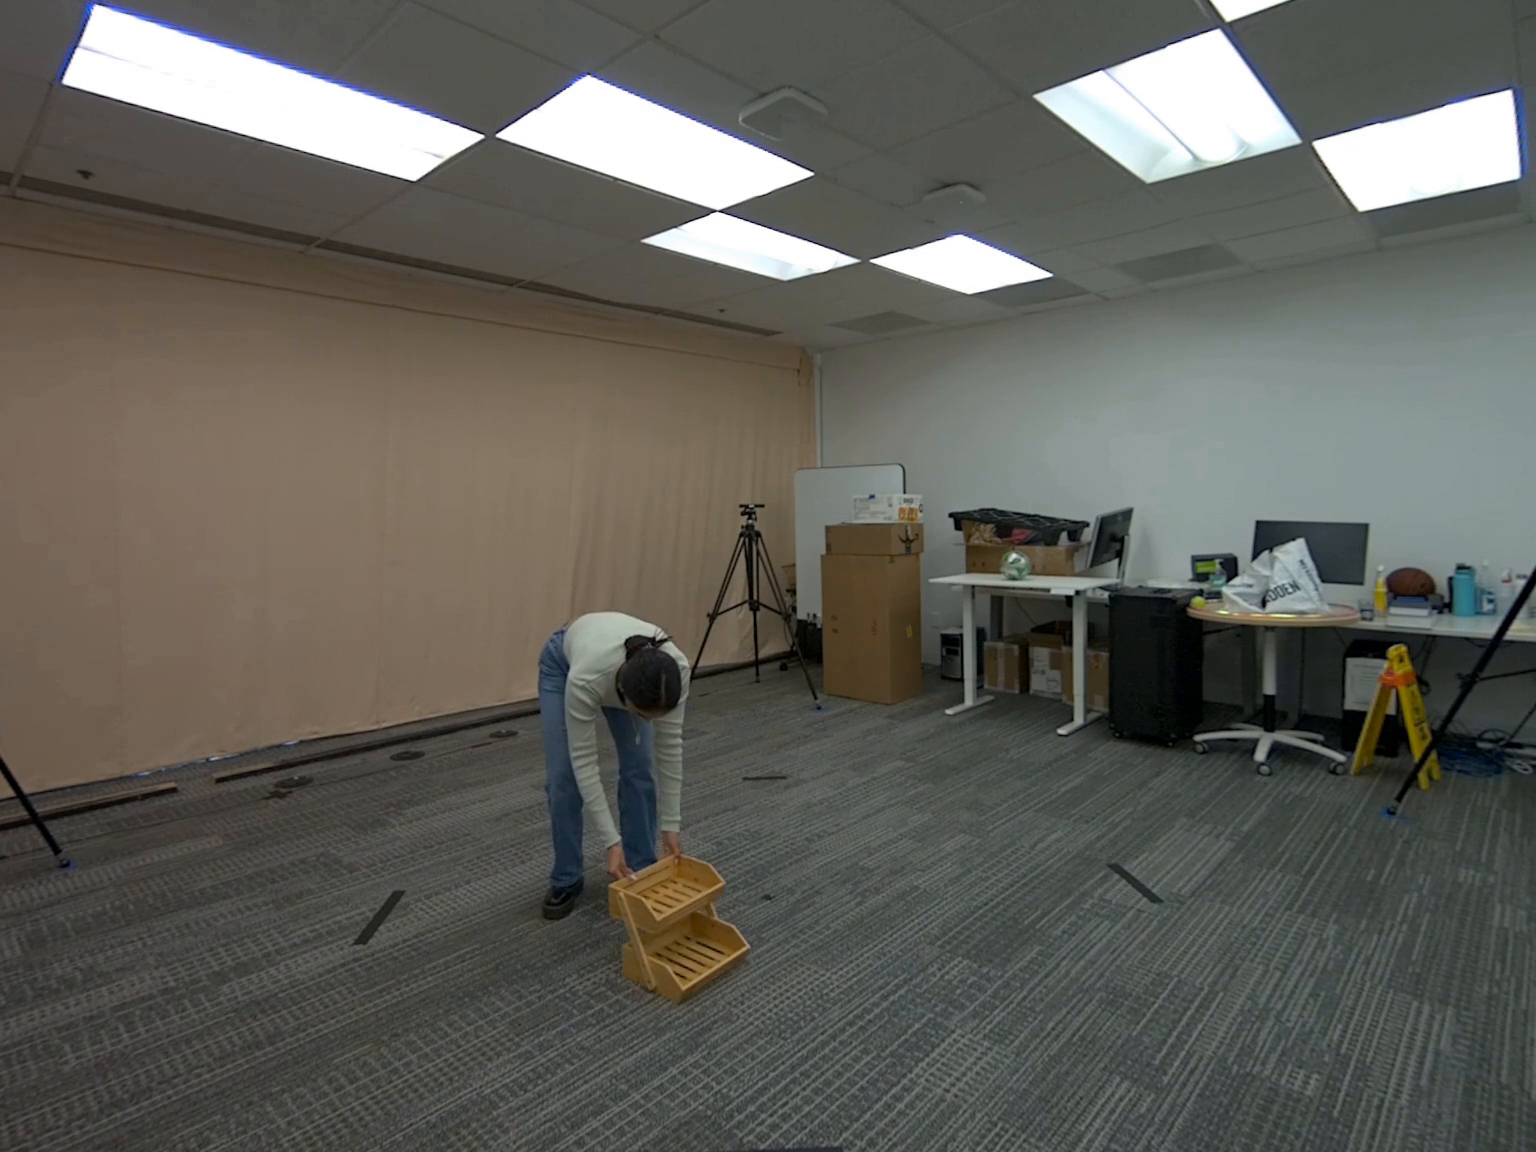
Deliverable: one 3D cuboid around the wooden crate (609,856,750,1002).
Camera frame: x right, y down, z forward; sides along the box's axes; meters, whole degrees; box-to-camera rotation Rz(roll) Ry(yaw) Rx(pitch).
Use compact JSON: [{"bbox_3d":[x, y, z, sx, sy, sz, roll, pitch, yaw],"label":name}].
[{"bbox_3d":[-0.259,1.050,2.540,0.312,0.273,0.315,1,4,39],"label":"wooden crate"}]
